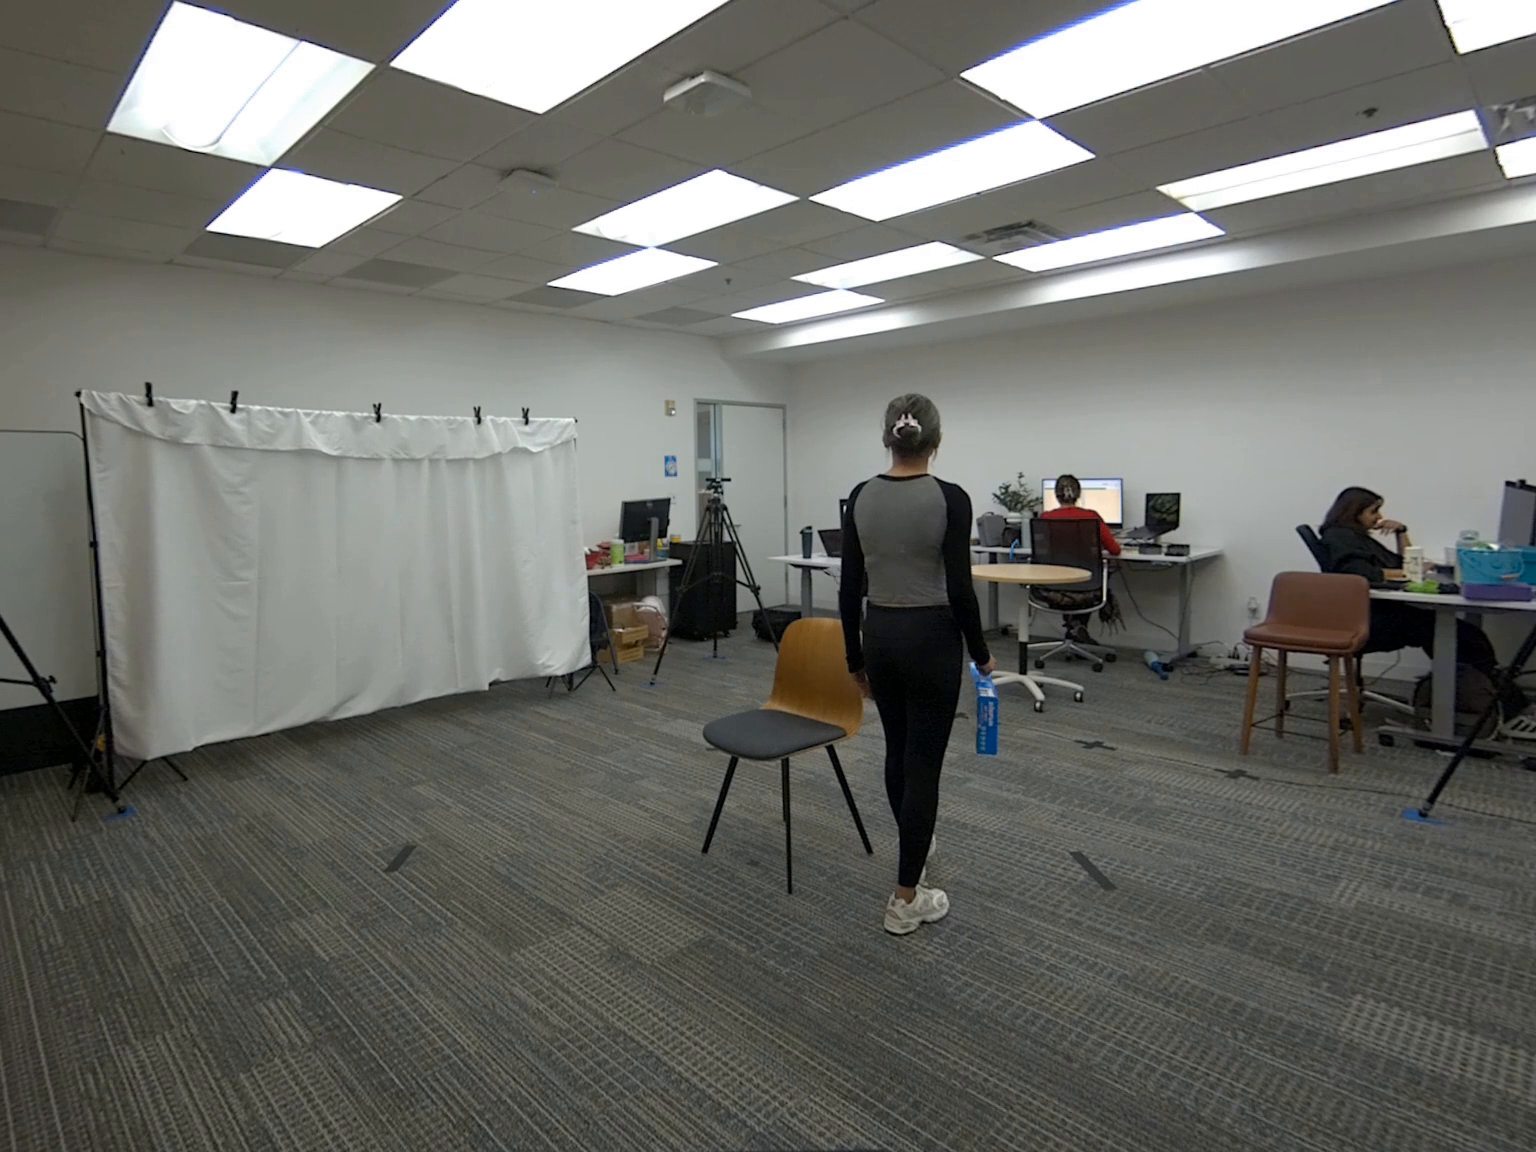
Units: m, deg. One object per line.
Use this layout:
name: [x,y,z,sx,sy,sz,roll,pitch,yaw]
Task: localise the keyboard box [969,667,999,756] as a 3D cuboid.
keyboard box: [0.672,0.402,2.695,0.060,0.175,0.435,1,8,10]
